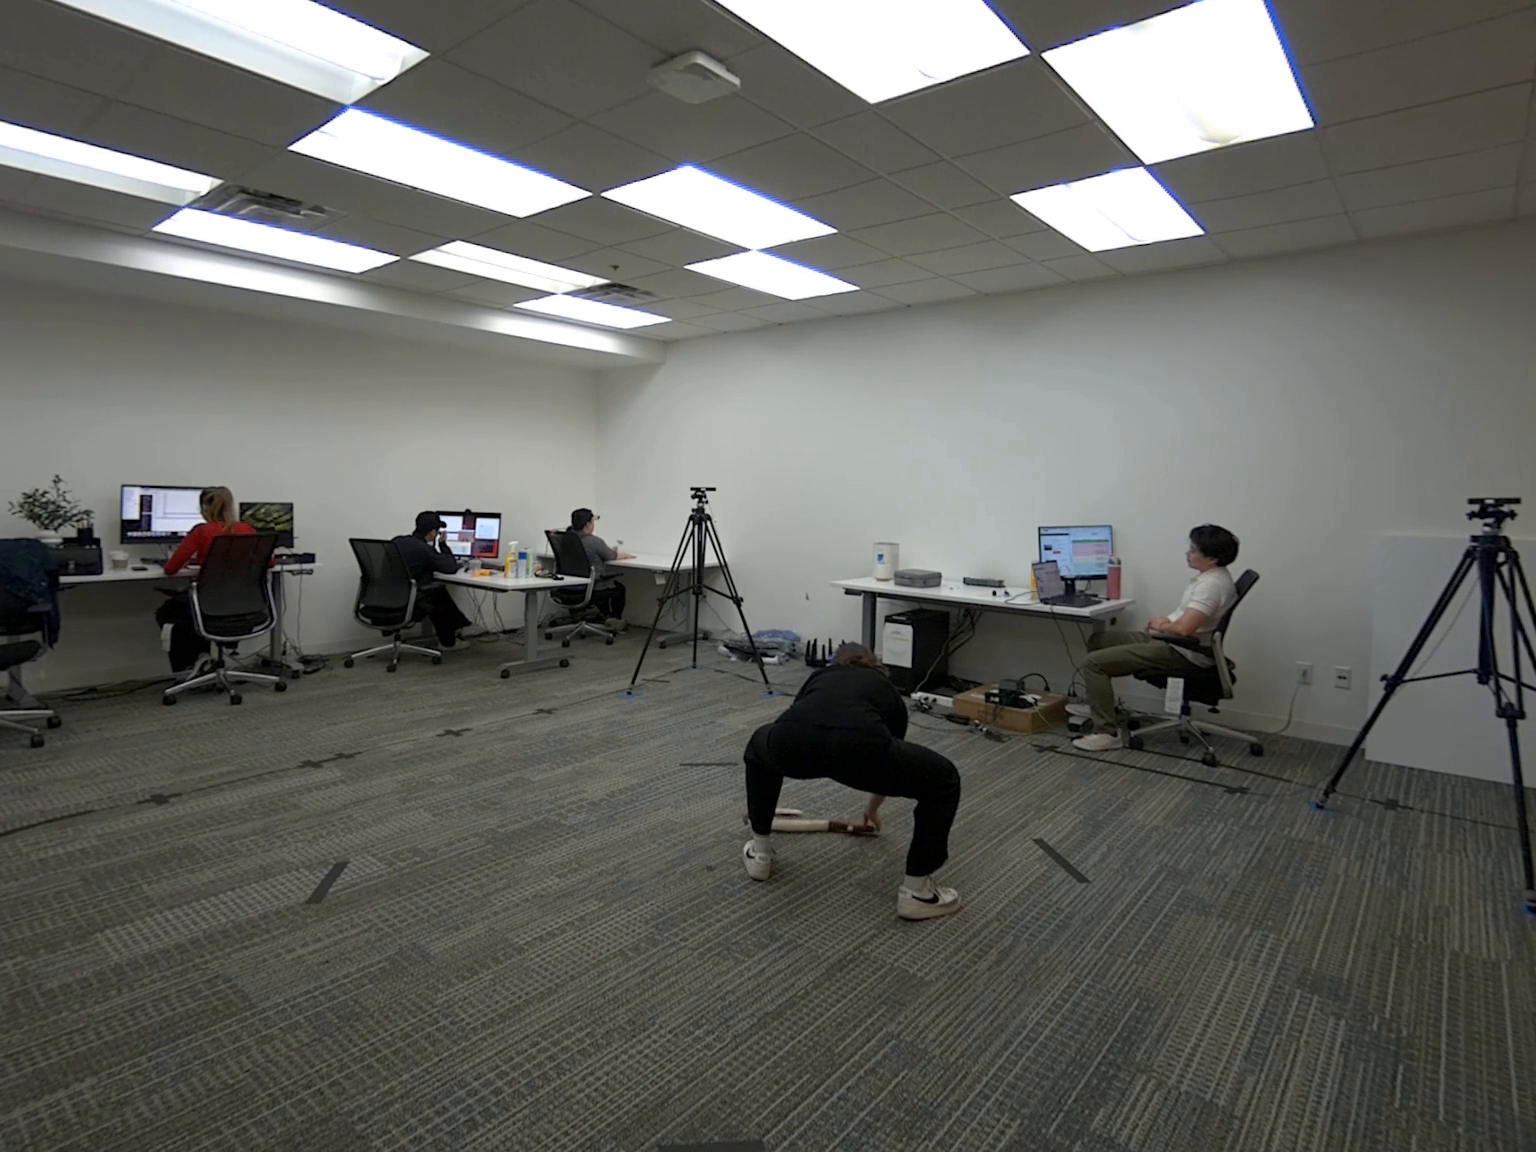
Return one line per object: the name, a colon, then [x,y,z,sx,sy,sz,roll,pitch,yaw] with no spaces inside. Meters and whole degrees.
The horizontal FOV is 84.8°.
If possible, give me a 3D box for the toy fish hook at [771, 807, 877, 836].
toy fish hook: [0.189,1.013,3.534,0.512,0.048,0.223,2,7,8]
